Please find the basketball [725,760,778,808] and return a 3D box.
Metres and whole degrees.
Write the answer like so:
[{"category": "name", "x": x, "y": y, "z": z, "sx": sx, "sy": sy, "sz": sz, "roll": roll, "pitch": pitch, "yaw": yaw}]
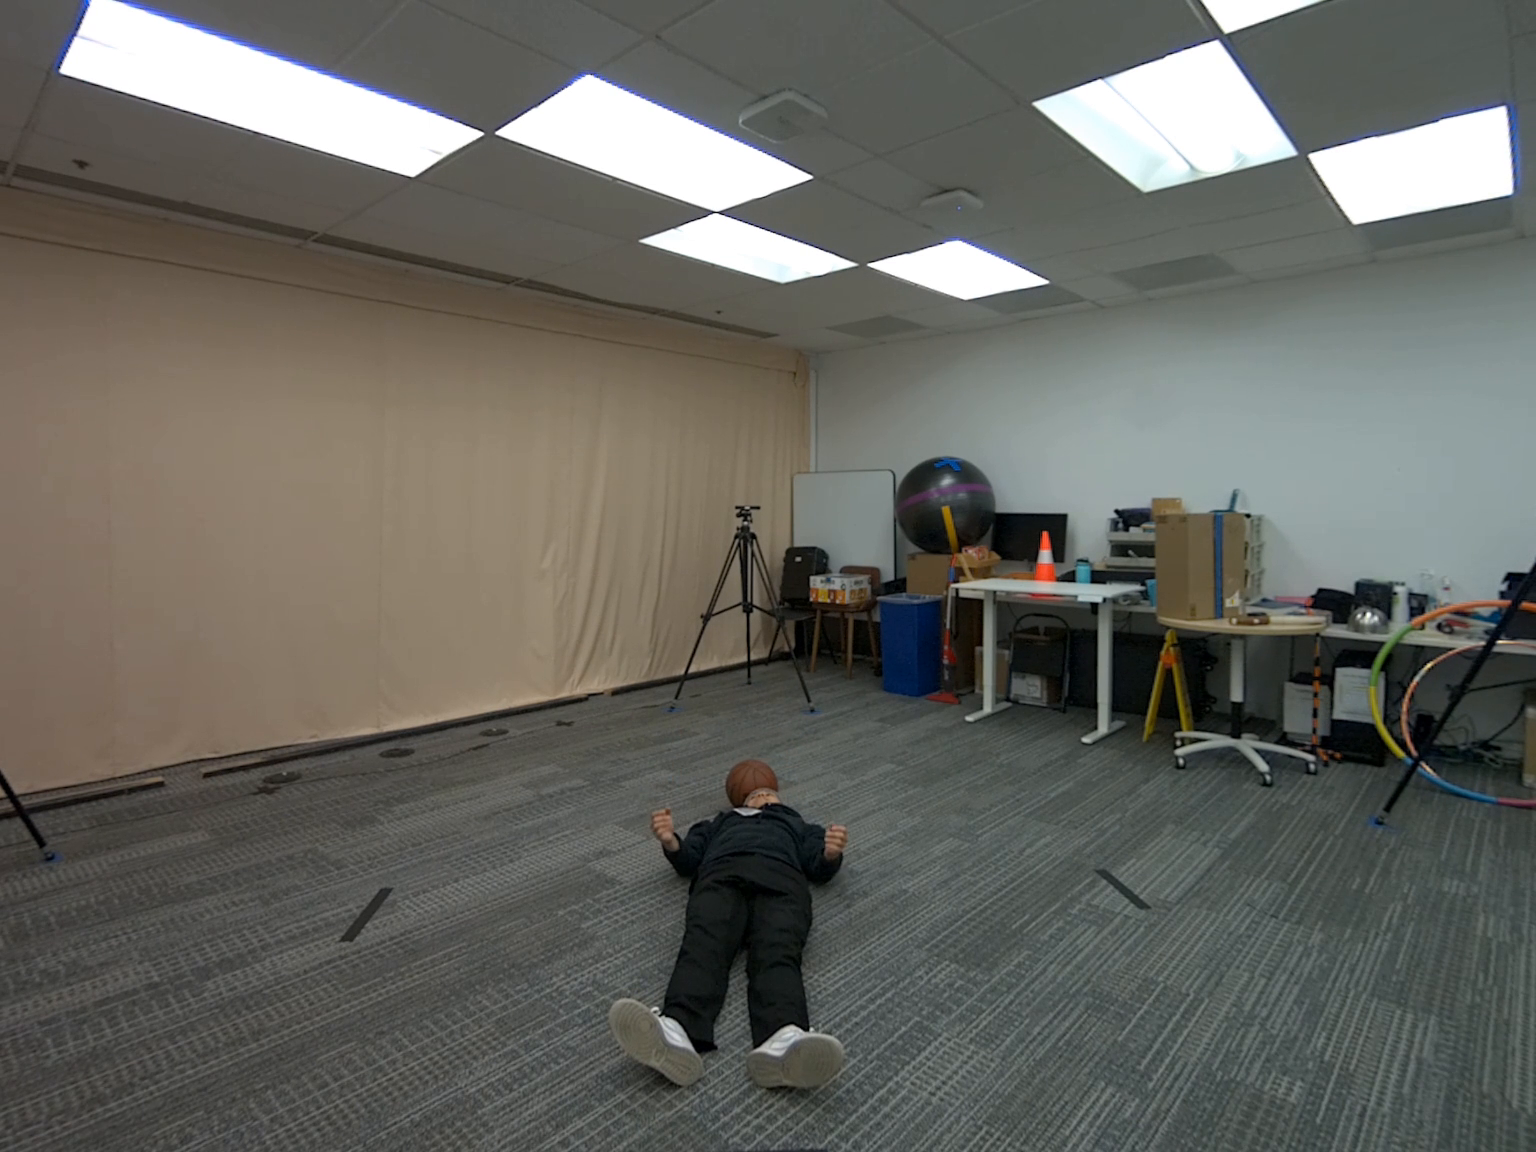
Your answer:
[{"category": "basketball", "x": -0.075, "y": 0.956, "z": 3.828, "sx": 0.236, "sy": 0.235, "sz": 0.237, "roll": 0, "pitch": 4, "yaw": -2}]
